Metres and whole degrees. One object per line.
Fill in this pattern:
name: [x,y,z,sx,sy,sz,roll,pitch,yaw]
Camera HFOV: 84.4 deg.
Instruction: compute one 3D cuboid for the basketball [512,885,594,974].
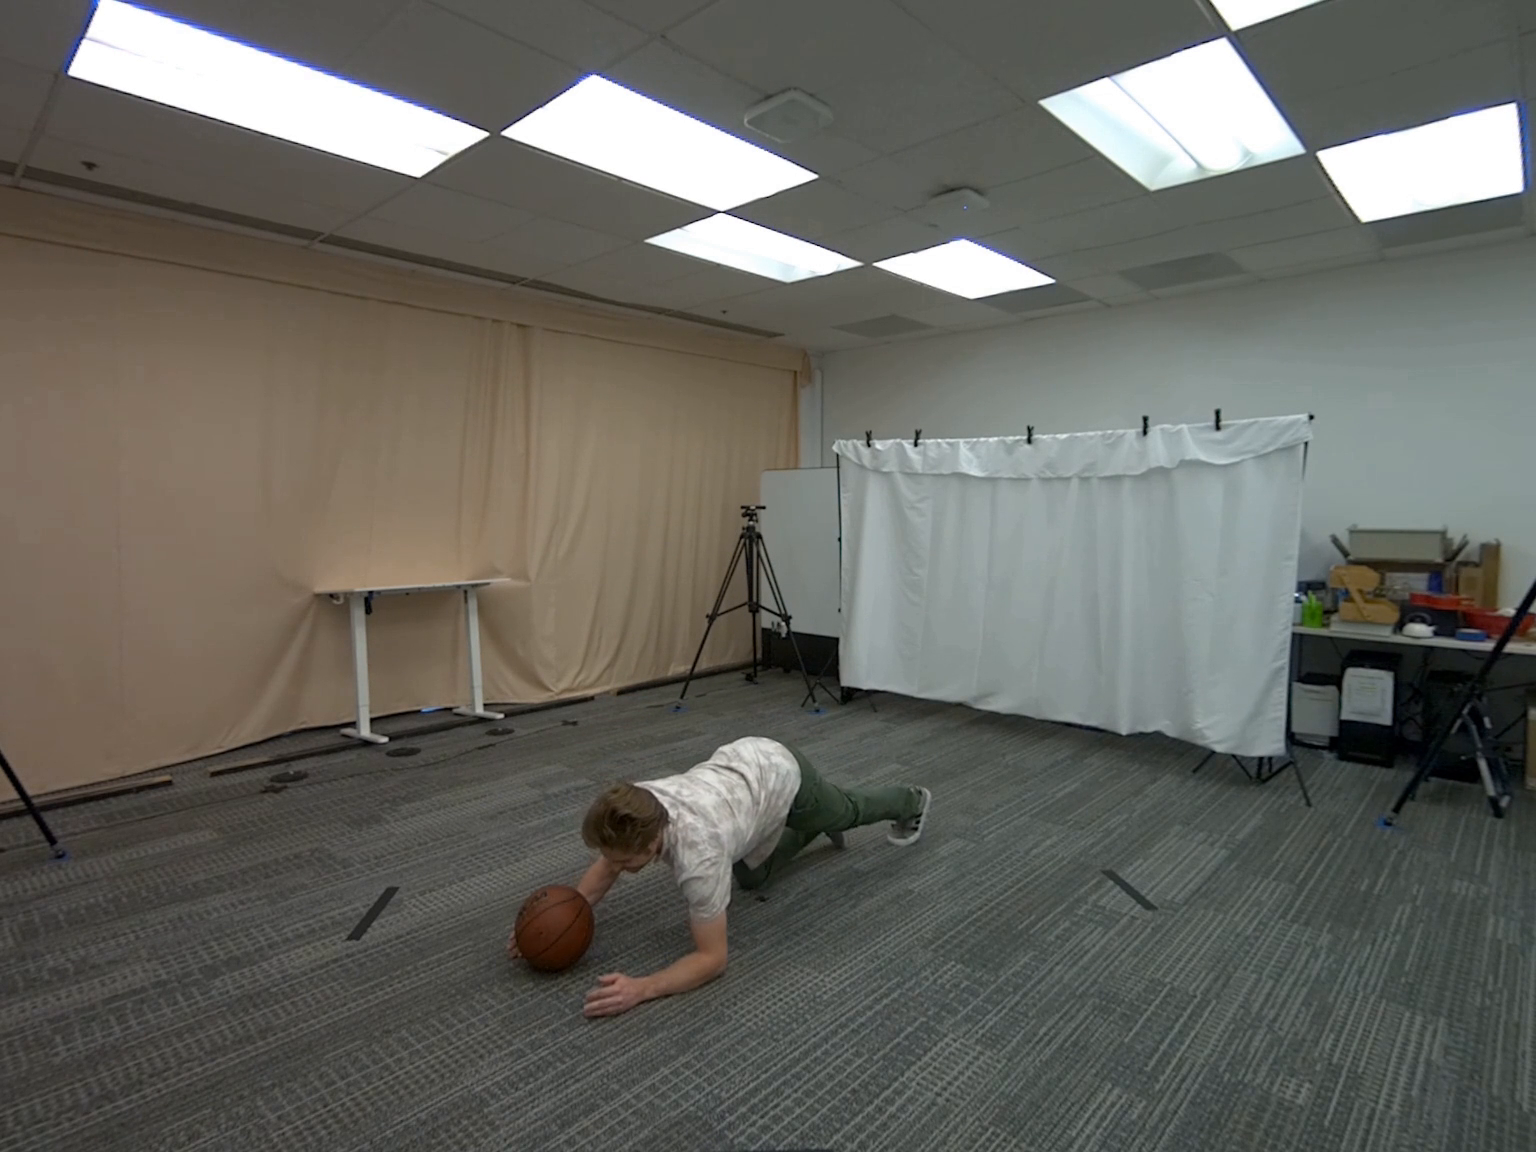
basketball: [-0.647,1.062,2.556,0.236,0.235,0.237,0,4,-2]
